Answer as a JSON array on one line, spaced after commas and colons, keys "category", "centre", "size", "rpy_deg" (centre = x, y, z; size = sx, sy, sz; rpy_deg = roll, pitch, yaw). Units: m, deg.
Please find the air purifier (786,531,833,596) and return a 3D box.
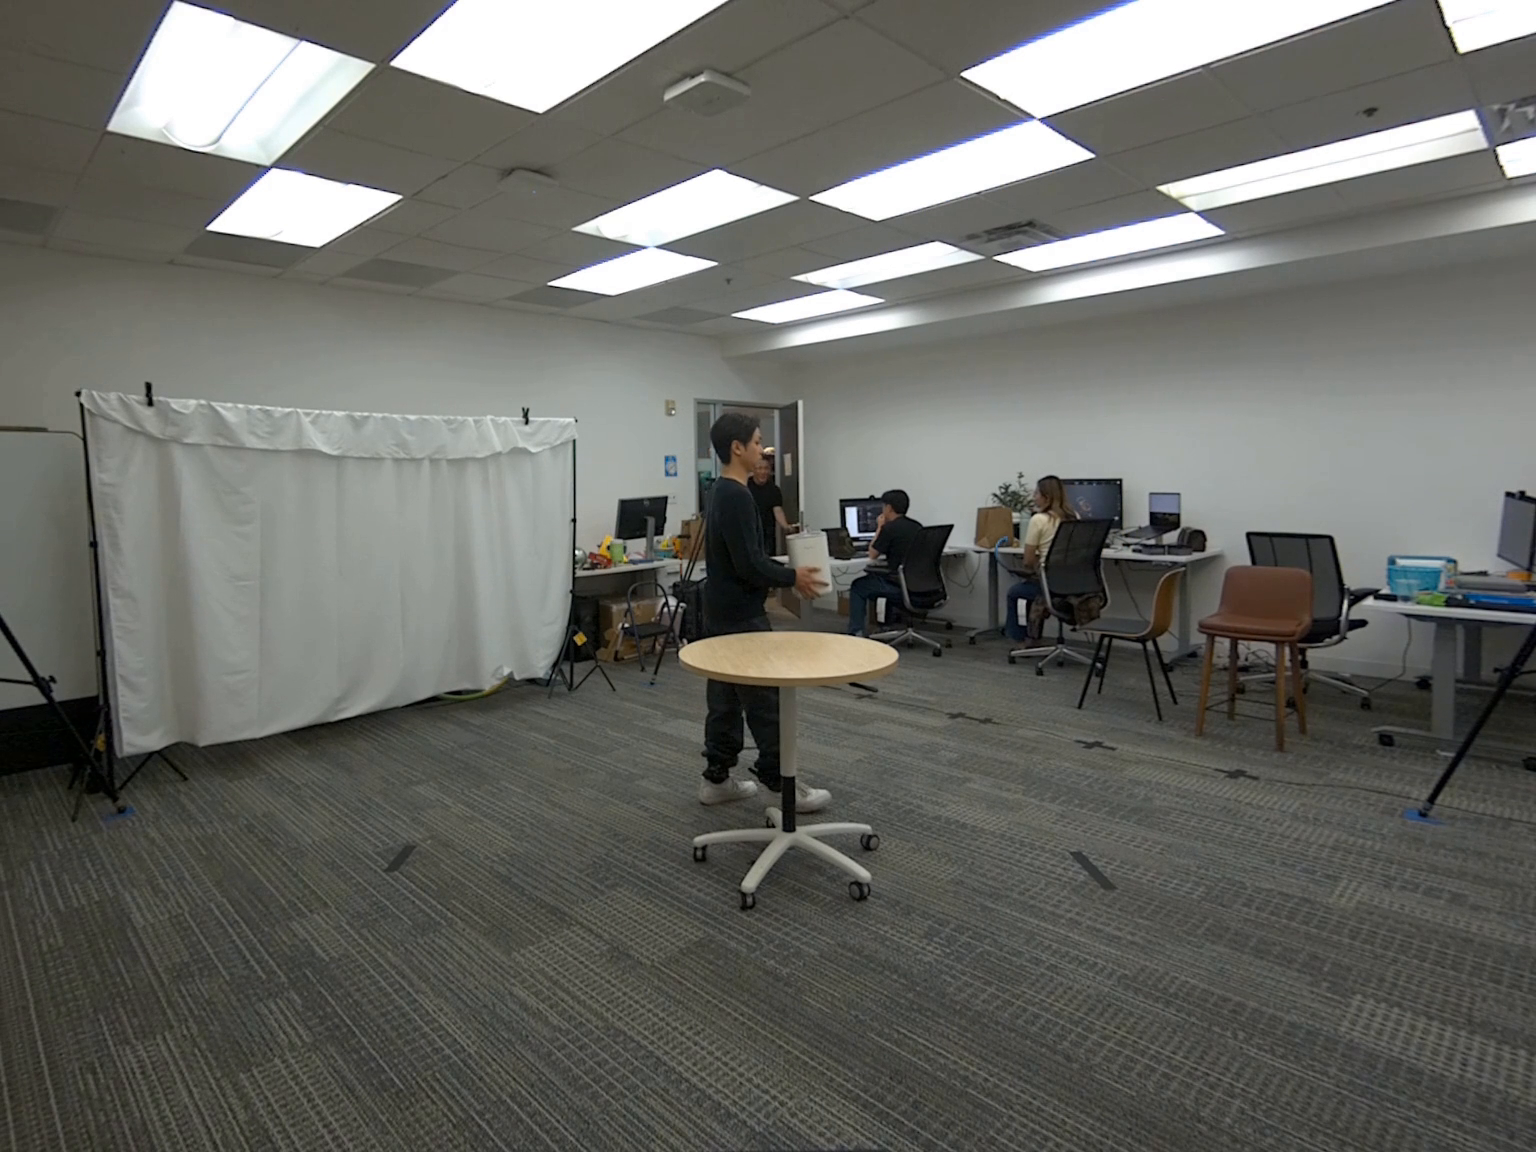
[{"category": "air purifier", "centre": [0.176, -0.047, 3.665], "size": [0.171, 0.264, 0.172], "rpy_deg": [-7, 4, -1]}]
